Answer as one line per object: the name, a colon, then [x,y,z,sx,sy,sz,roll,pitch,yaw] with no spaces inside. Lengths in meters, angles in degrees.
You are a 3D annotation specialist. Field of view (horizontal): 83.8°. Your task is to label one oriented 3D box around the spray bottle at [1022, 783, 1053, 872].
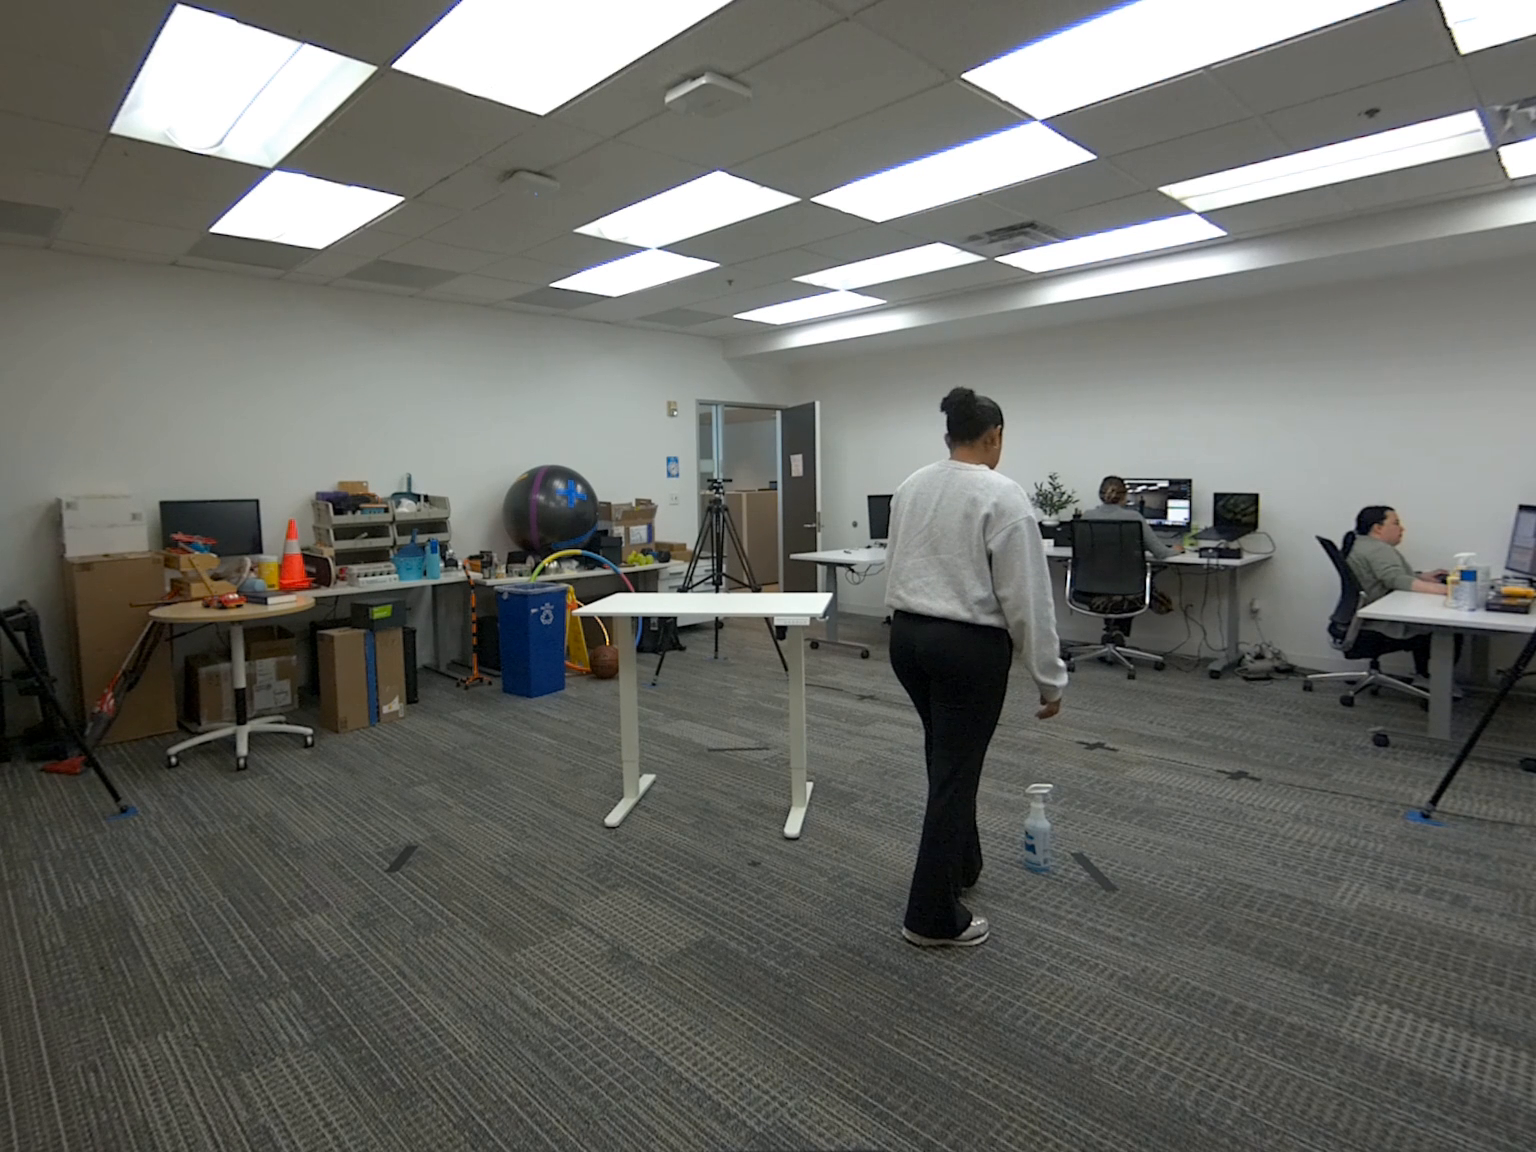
spray bottle: [0.964,0.893,3.039,0.092,0.296,0.085,3,4,32]
